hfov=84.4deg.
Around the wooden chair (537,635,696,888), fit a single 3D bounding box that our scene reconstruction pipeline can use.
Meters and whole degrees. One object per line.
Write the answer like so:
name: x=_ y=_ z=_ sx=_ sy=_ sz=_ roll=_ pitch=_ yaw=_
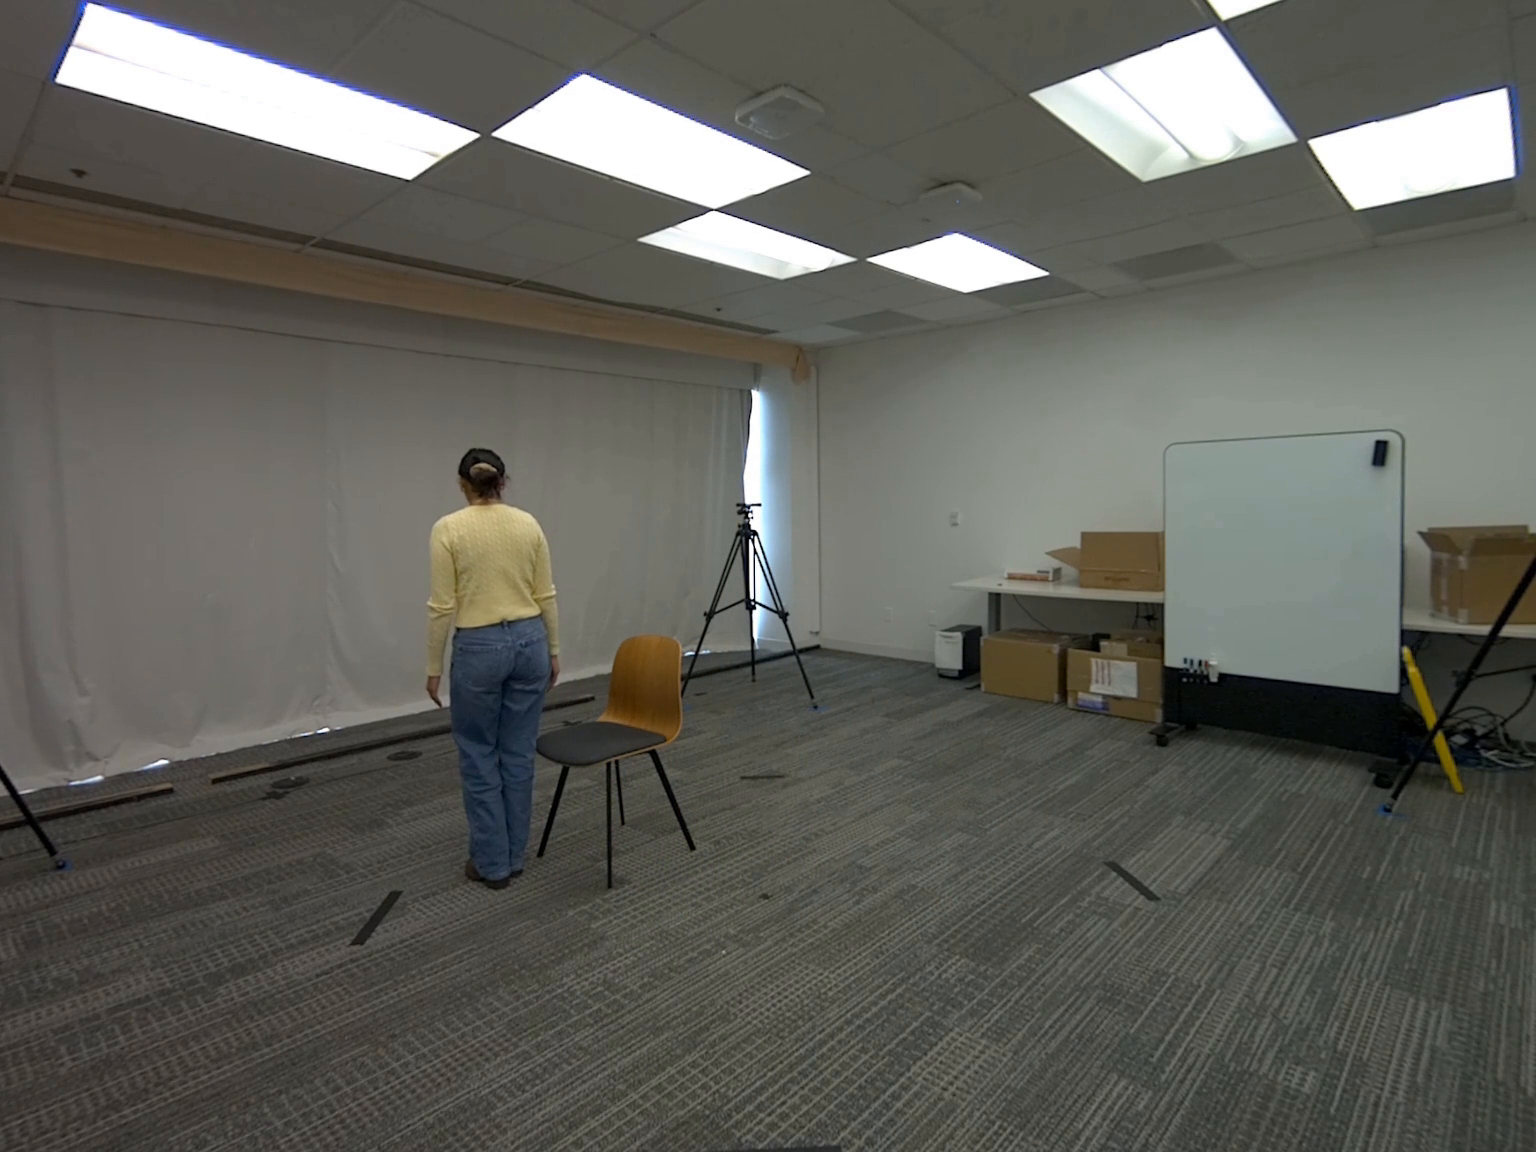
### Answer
wooden chair: x=-0.615 y=0.691 z=3.349 sx=0.494 sy=0.877 sz=0.506 roll=2 pitch=0 yaw=41
